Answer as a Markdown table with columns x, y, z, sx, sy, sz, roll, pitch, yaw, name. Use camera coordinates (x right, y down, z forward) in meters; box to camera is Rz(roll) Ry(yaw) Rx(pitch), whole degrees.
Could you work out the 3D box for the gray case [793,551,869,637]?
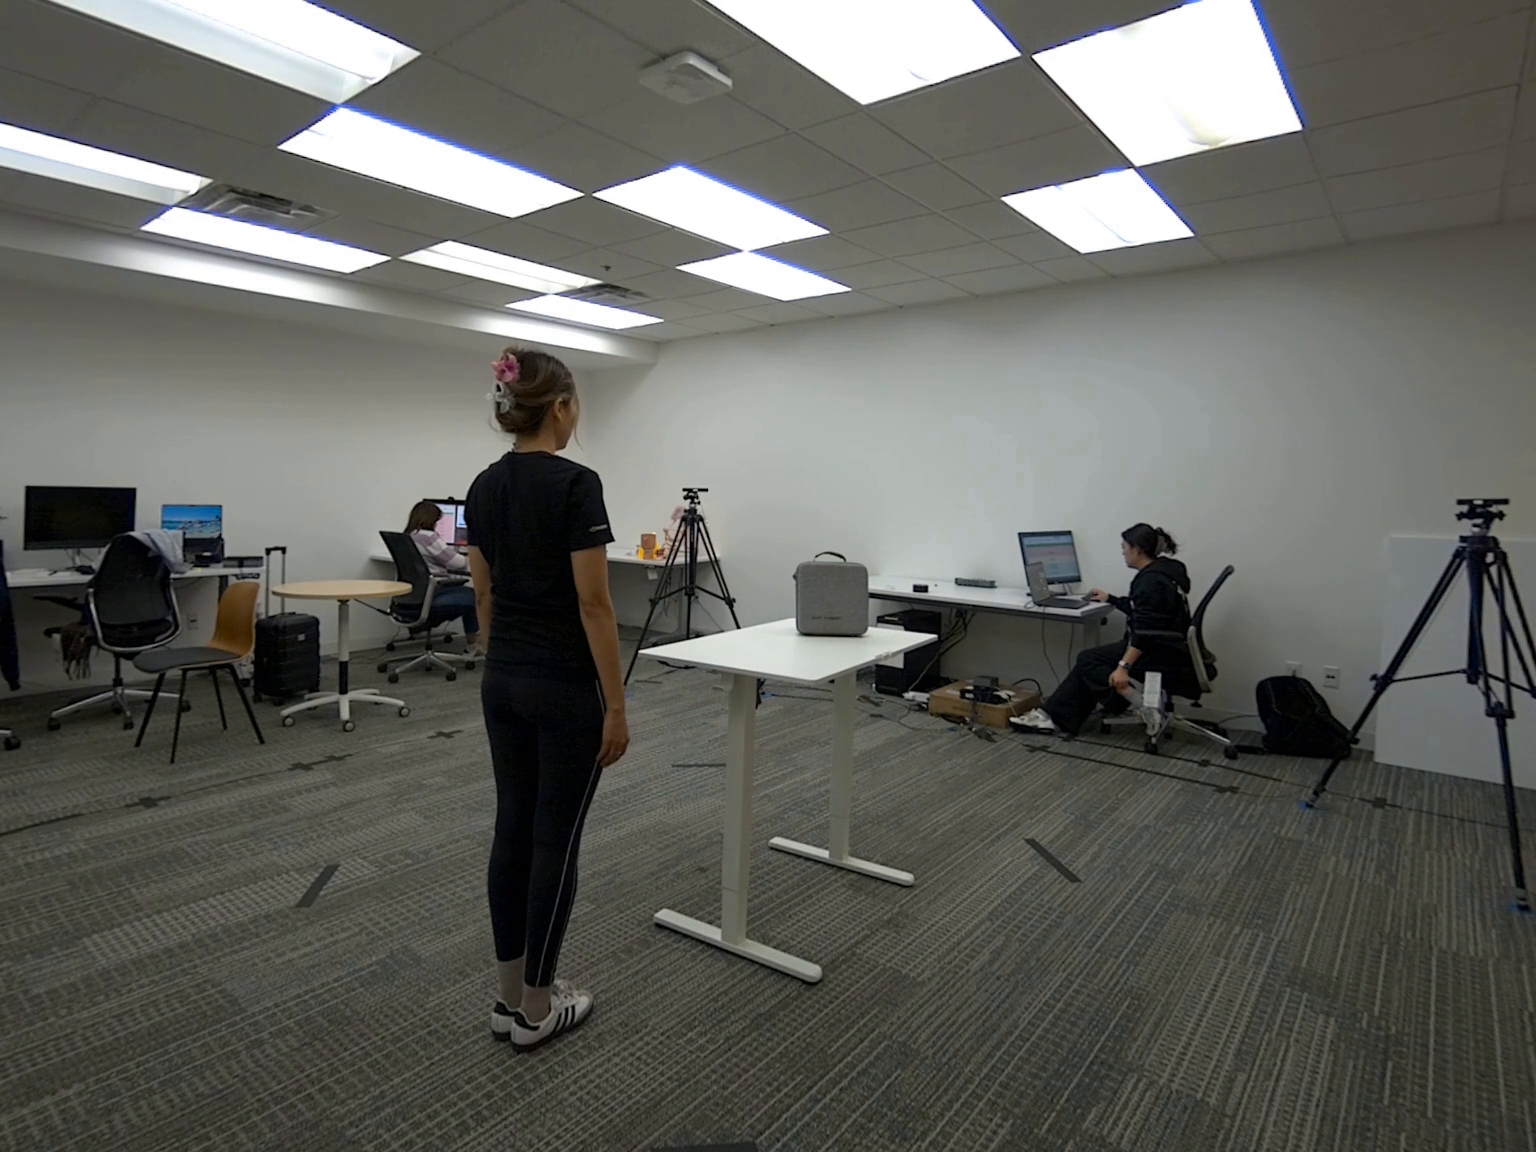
| x | y | z | sx | sy | sz | roll | pitch | yaw | name |
| --- | --- | --- | --- | --- | --- | --- | --- | --- | --- |
| 0.212 | 0.072 | 3.036 | 0.255 | 0.262 | 0.104 | 2 | -7 | -6 | gray case |
